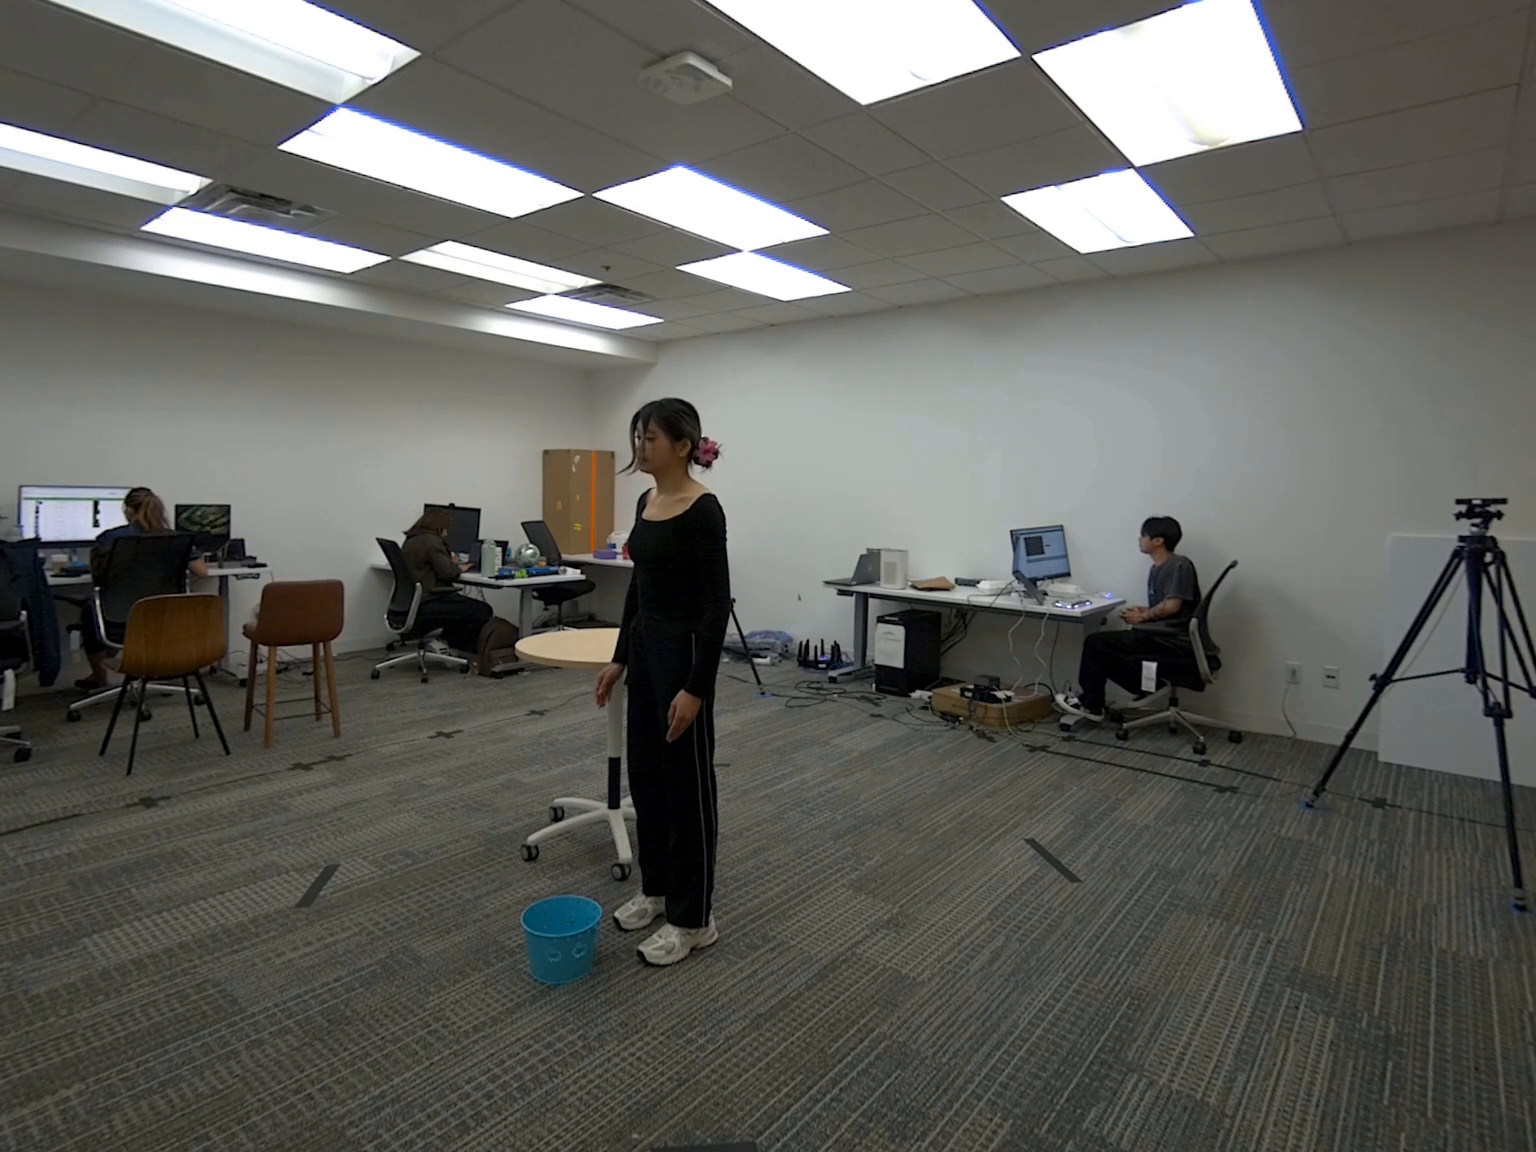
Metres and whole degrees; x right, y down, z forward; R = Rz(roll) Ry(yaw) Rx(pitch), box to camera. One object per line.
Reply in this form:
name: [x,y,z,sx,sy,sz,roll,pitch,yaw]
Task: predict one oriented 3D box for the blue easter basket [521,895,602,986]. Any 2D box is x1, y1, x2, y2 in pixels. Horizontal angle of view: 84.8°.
blue easter basket: [-0.601,1.055,2.456,0.243,0.155,0.245,1,5,-2]
